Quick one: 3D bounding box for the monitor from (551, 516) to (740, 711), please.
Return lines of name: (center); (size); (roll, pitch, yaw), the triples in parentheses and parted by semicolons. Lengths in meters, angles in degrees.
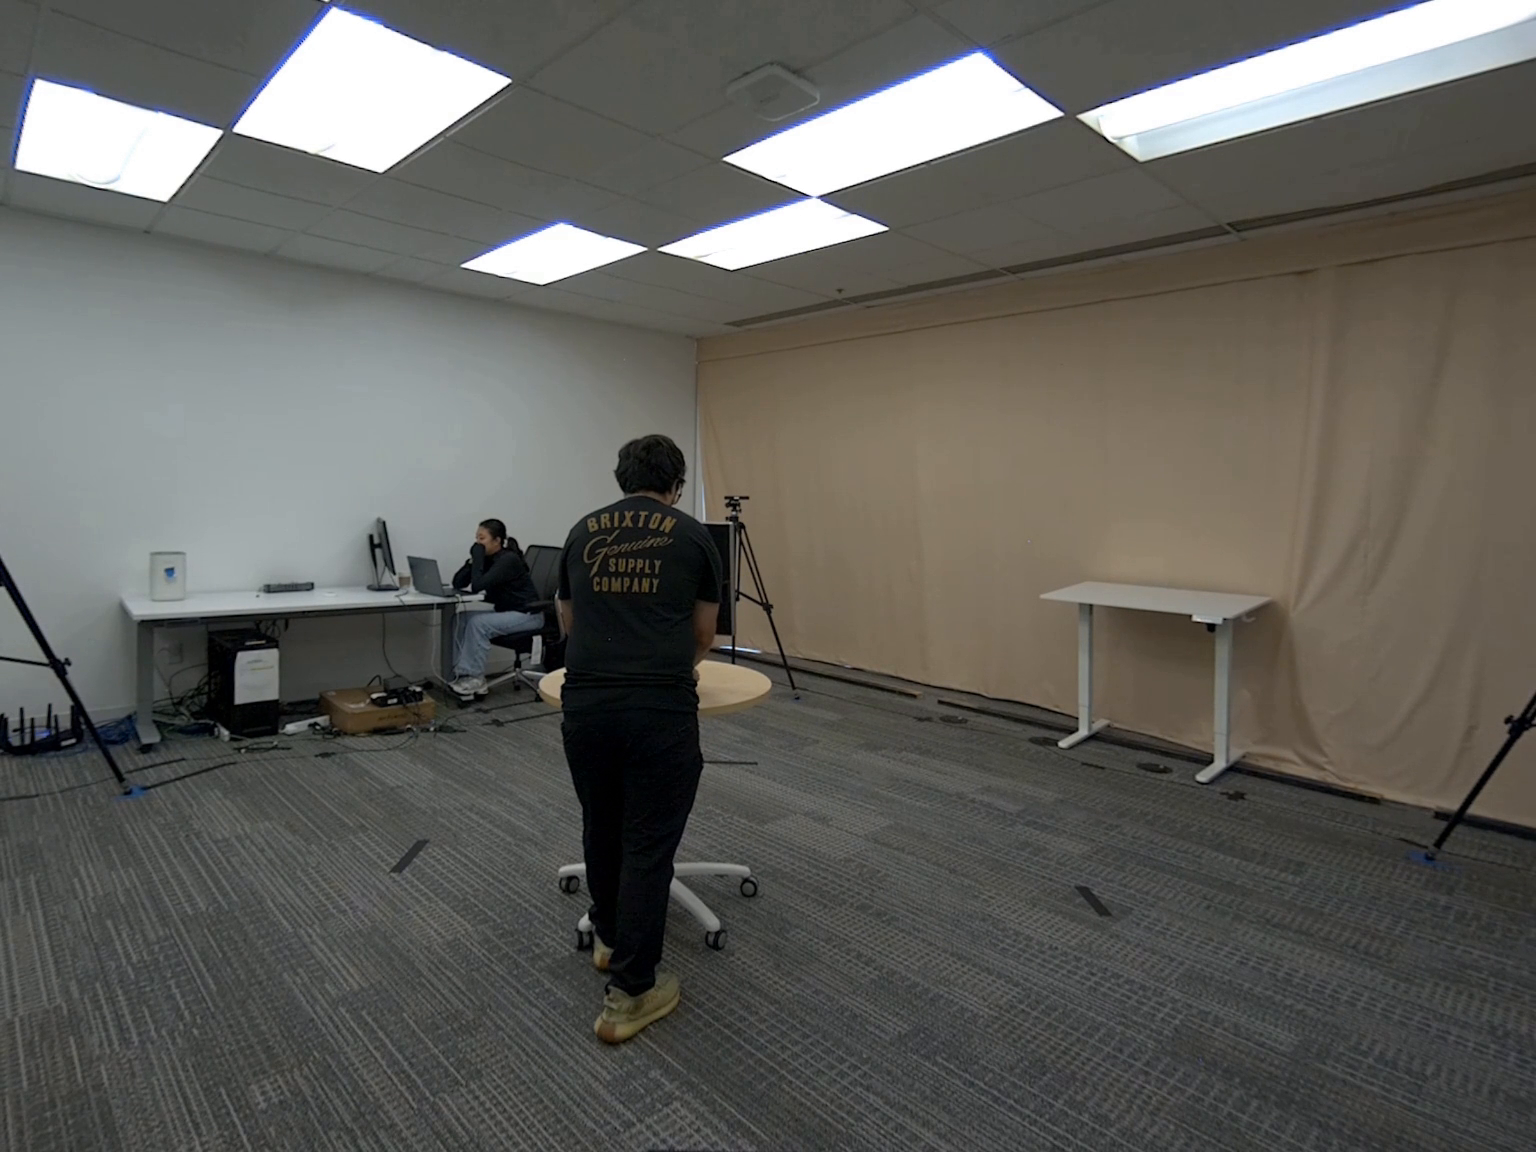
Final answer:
monitor: (-0.399, 0.096, 2.709); (0.576, 0.552, 0.207); (3, 4, 25)
